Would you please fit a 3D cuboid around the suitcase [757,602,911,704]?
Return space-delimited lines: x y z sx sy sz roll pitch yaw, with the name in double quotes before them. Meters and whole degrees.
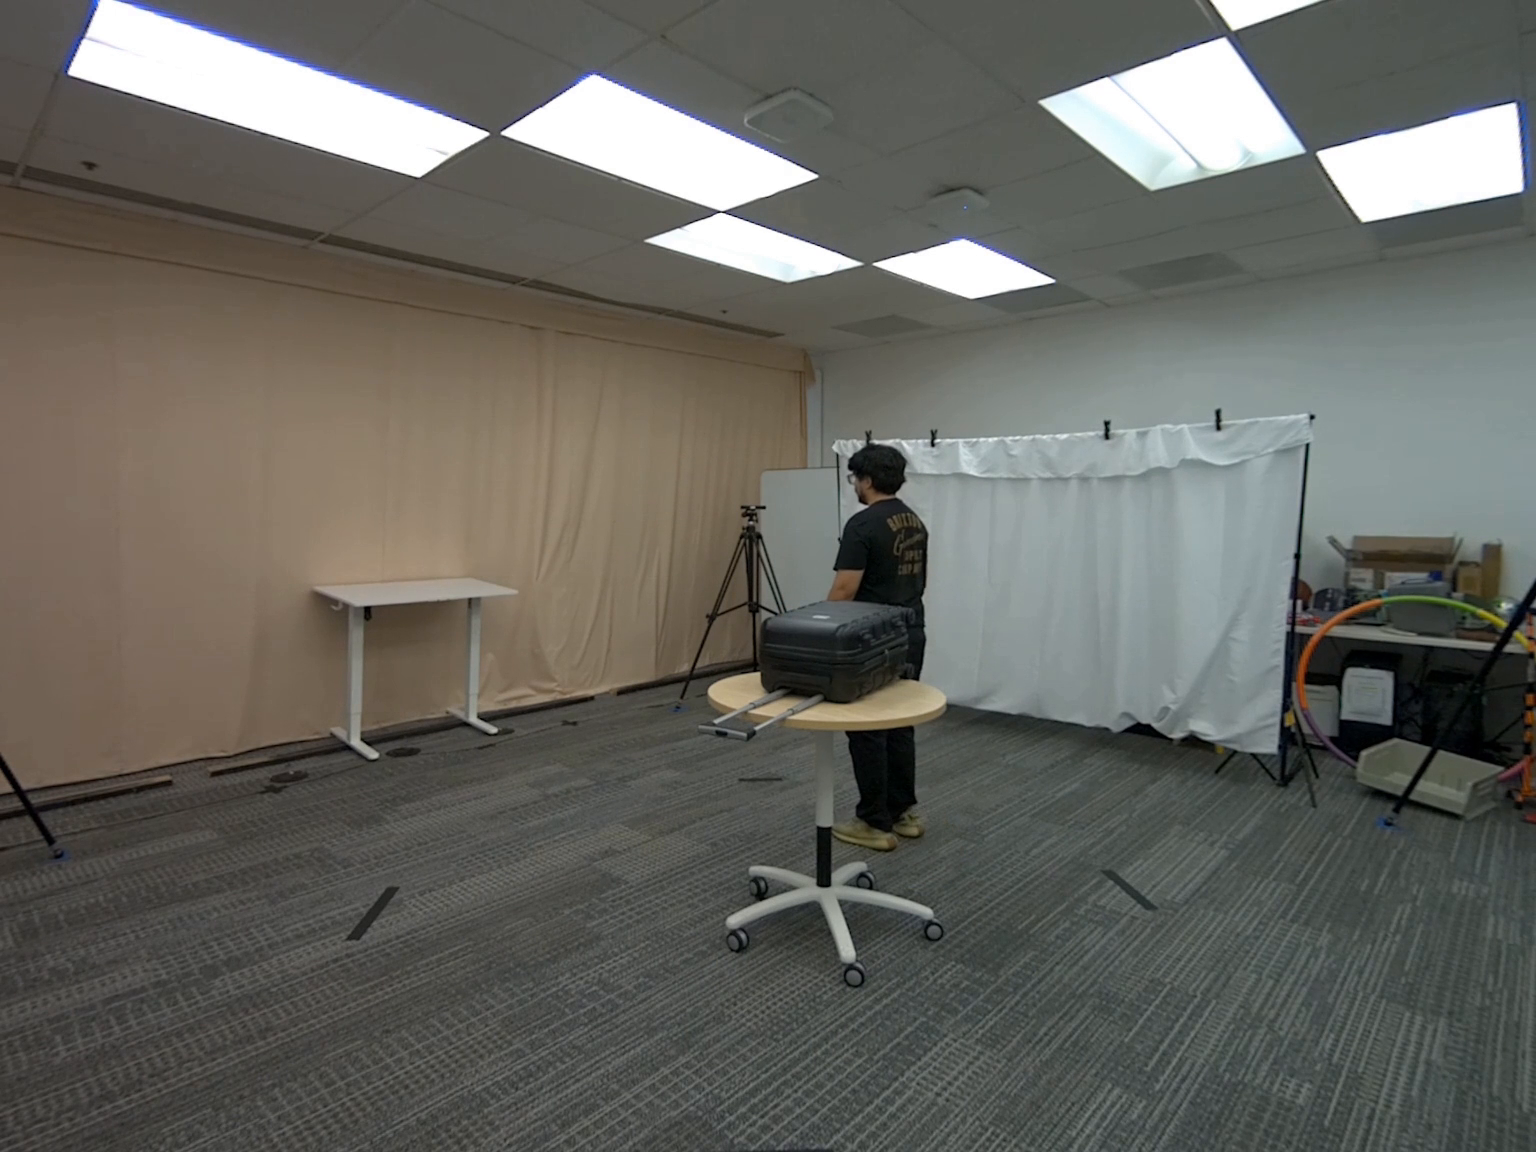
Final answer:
"suitcase" 0.124 0.260 2.664 0.396 0.256 0.951 4 6 32
